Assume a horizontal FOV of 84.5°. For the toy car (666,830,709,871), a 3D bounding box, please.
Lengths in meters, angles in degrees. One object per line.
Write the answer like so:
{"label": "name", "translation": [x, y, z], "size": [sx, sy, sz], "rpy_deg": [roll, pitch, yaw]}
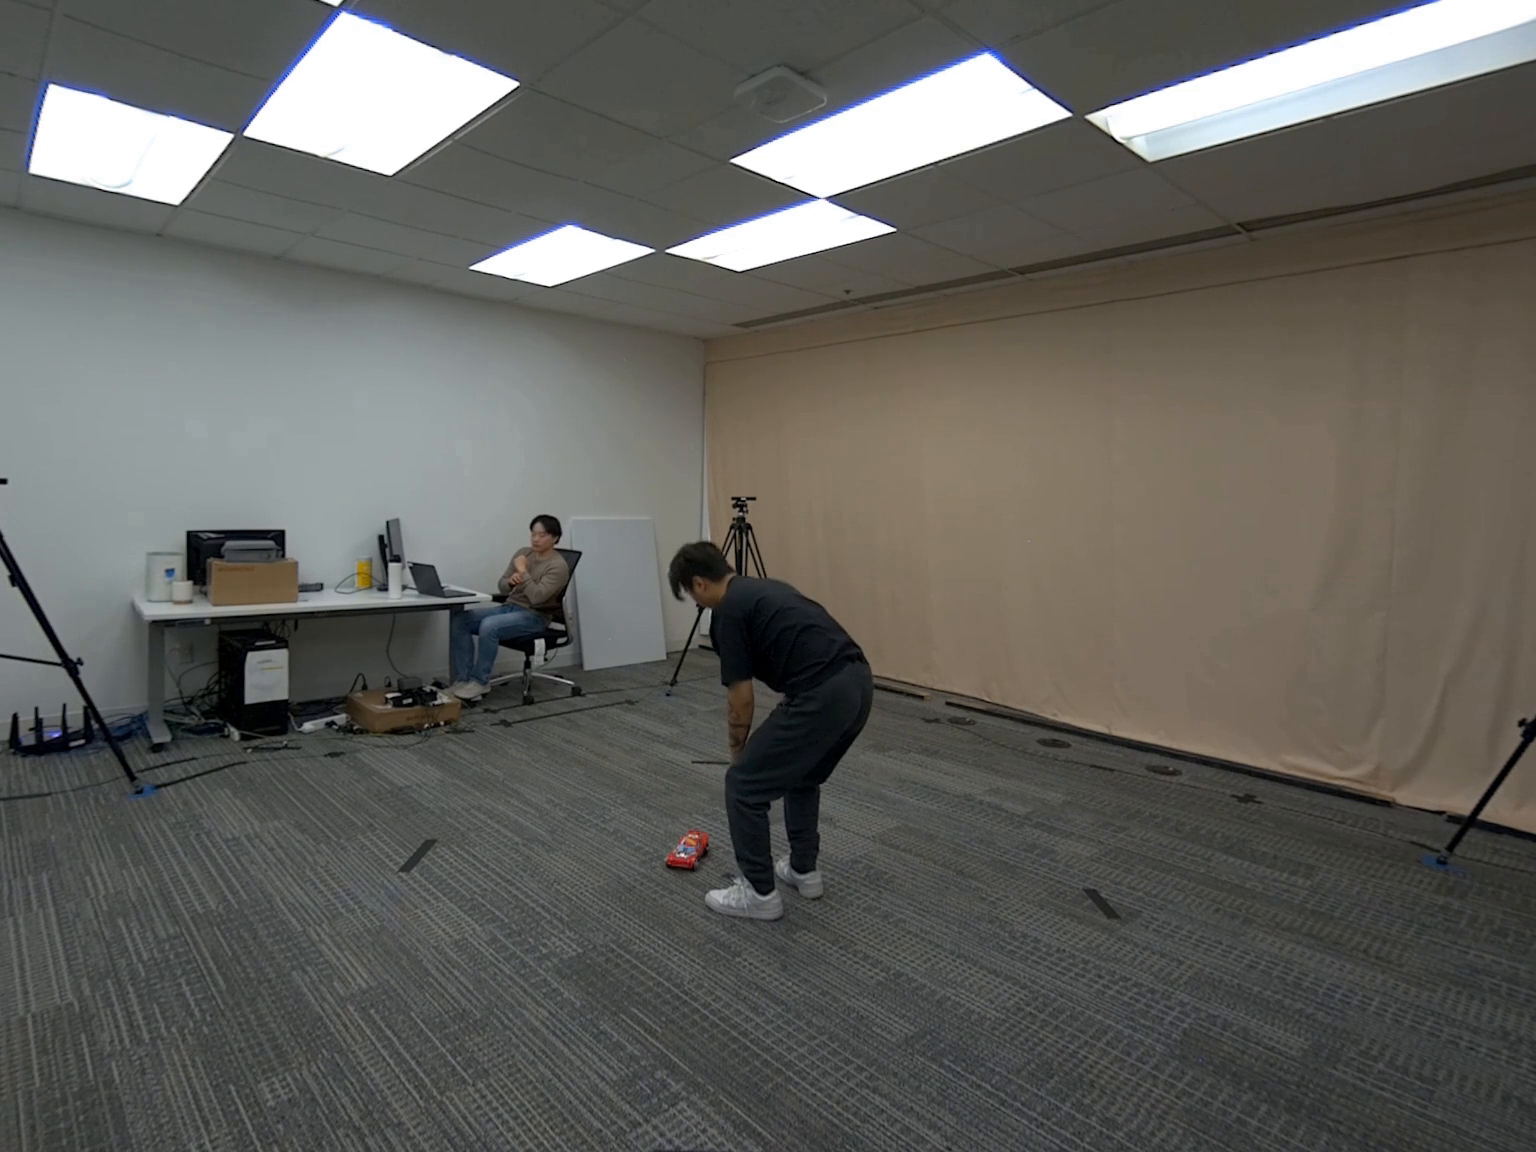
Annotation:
{"label": "toy car", "translation": [-0.309, 1.059, 3.243], "size": [0.132, 0.082, 0.254], "rpy_deg": [2, 15, 14]}
